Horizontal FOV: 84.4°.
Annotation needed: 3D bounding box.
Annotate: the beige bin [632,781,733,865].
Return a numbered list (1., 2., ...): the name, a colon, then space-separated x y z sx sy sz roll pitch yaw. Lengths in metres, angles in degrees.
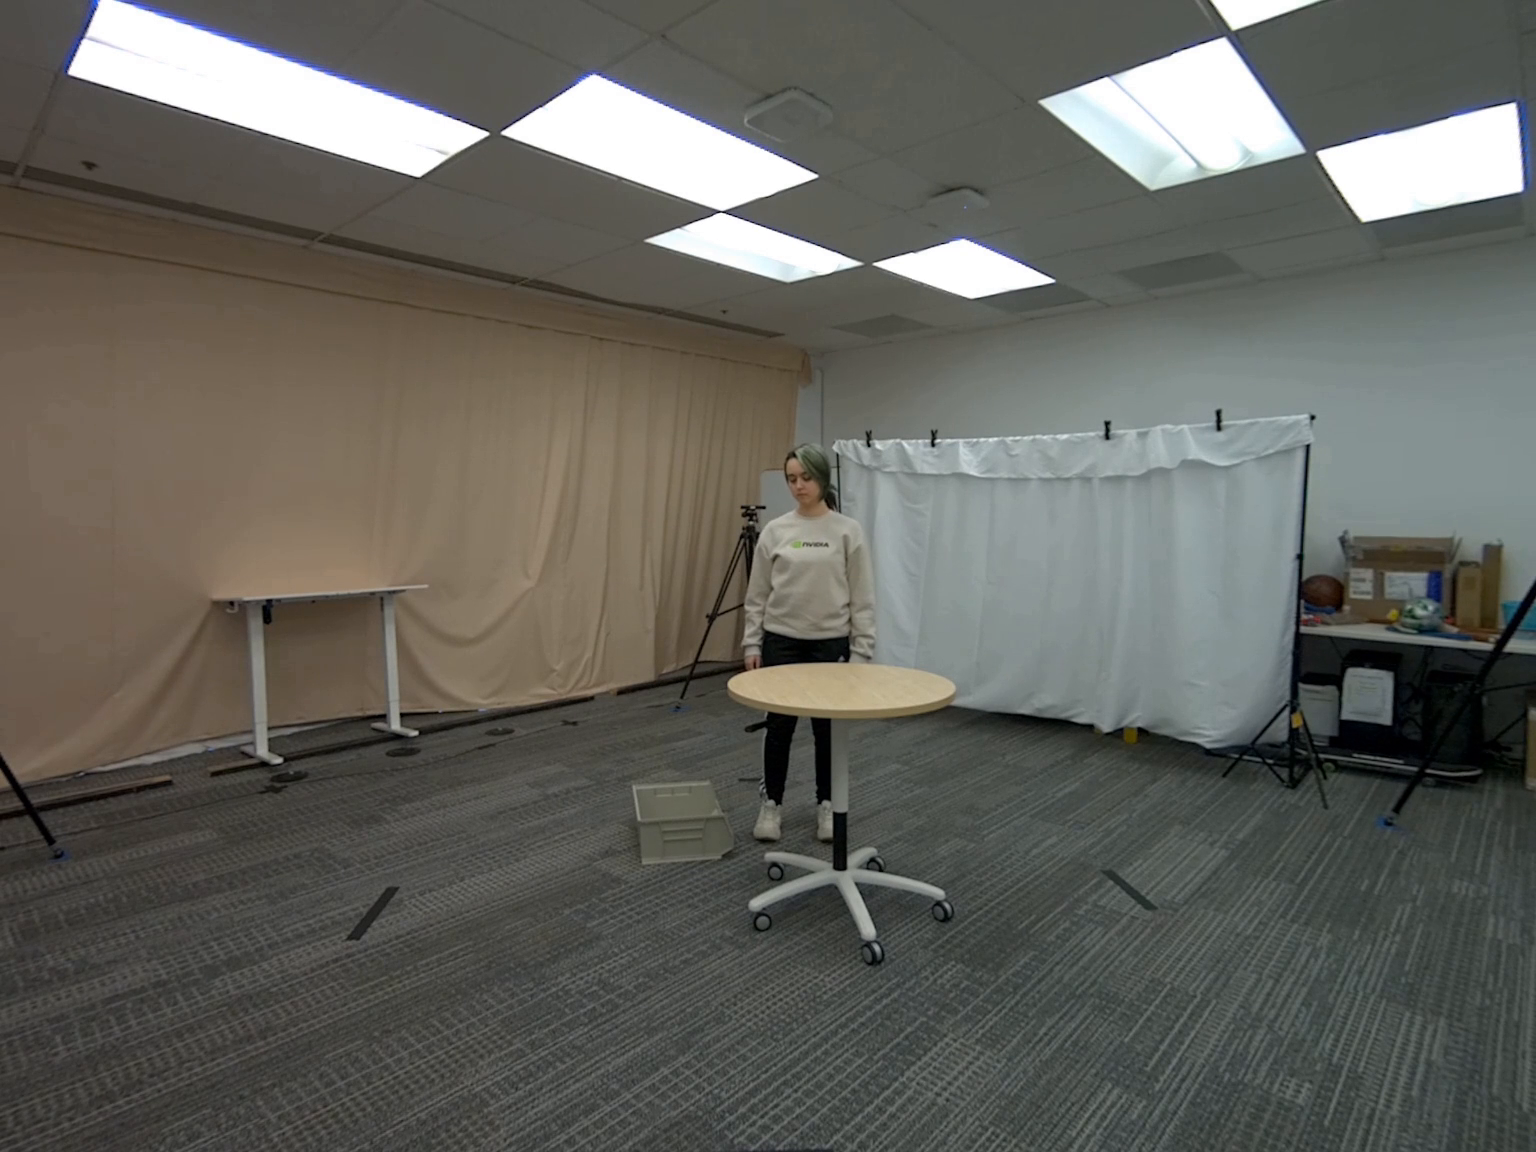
1. beige bin: -0.362 1.015 3.499 0.373 0.188 0.428 -2 5 -11
